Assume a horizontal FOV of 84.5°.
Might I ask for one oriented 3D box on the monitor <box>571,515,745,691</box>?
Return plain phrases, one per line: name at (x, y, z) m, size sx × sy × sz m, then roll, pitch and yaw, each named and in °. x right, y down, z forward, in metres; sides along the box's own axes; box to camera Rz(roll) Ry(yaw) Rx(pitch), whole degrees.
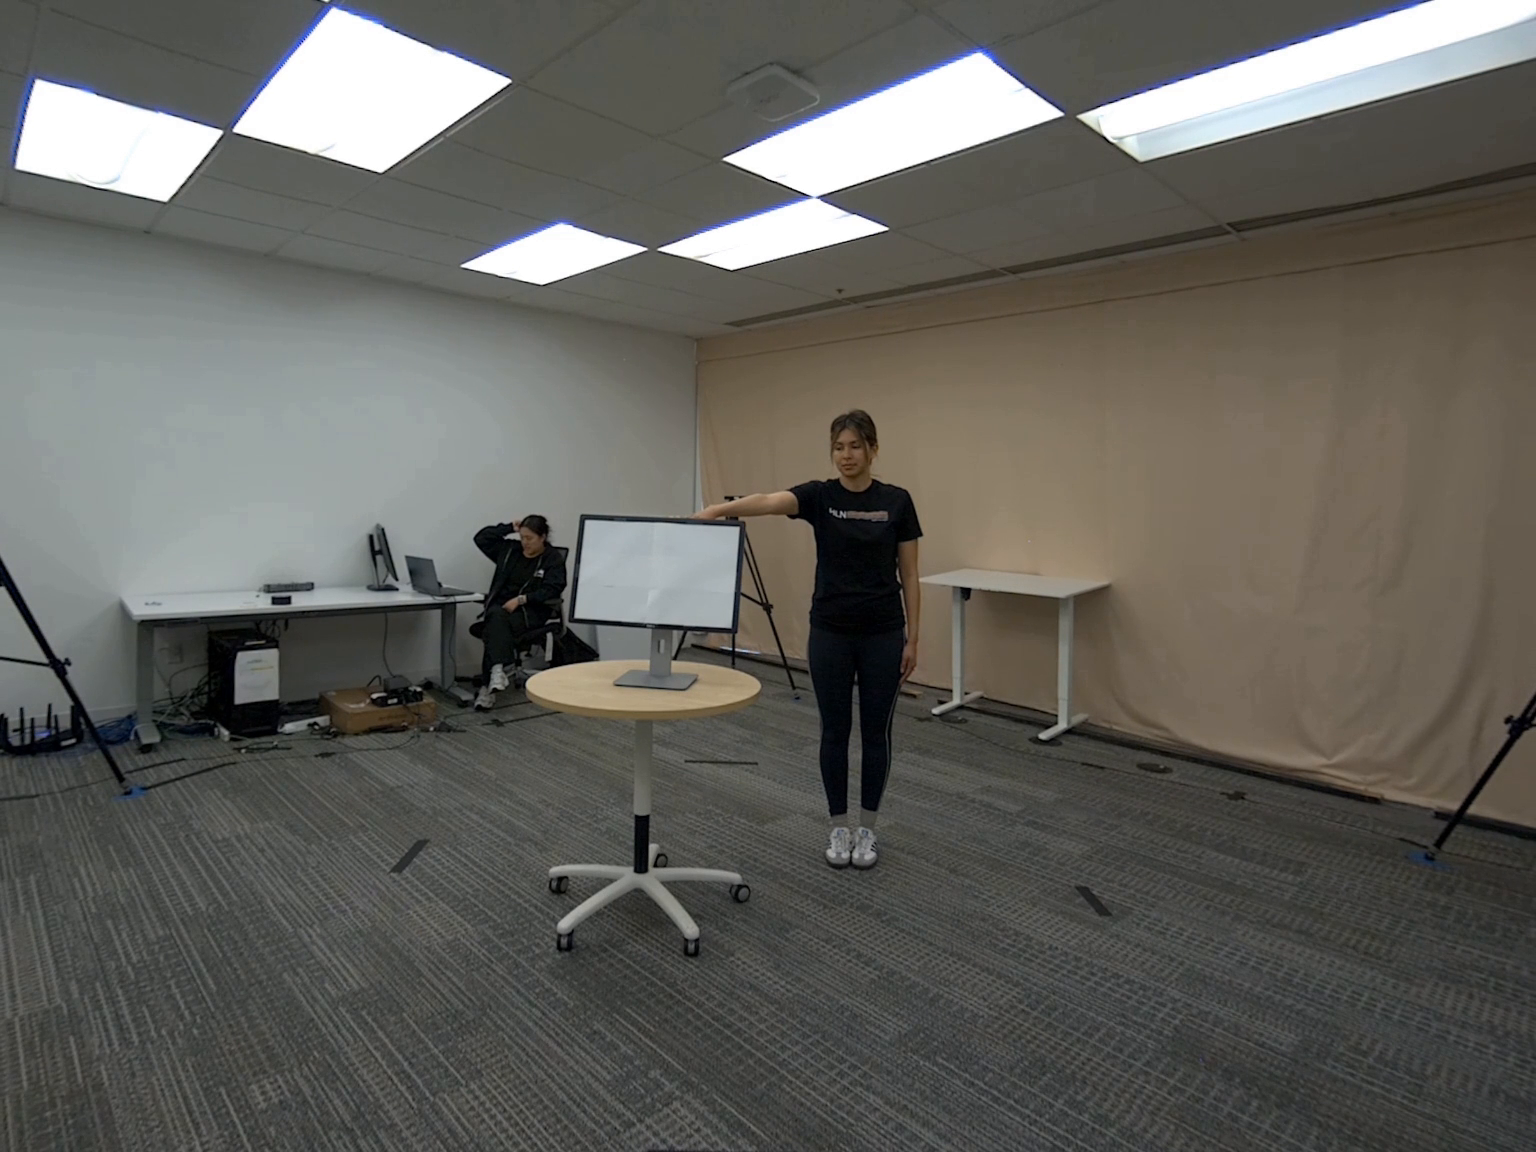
monitor at (-0.358, 0.088, 2.770) m, size 0.543 × 0.521 × 0.186 m, roll 3°, pitch 3°, yaw 8°
